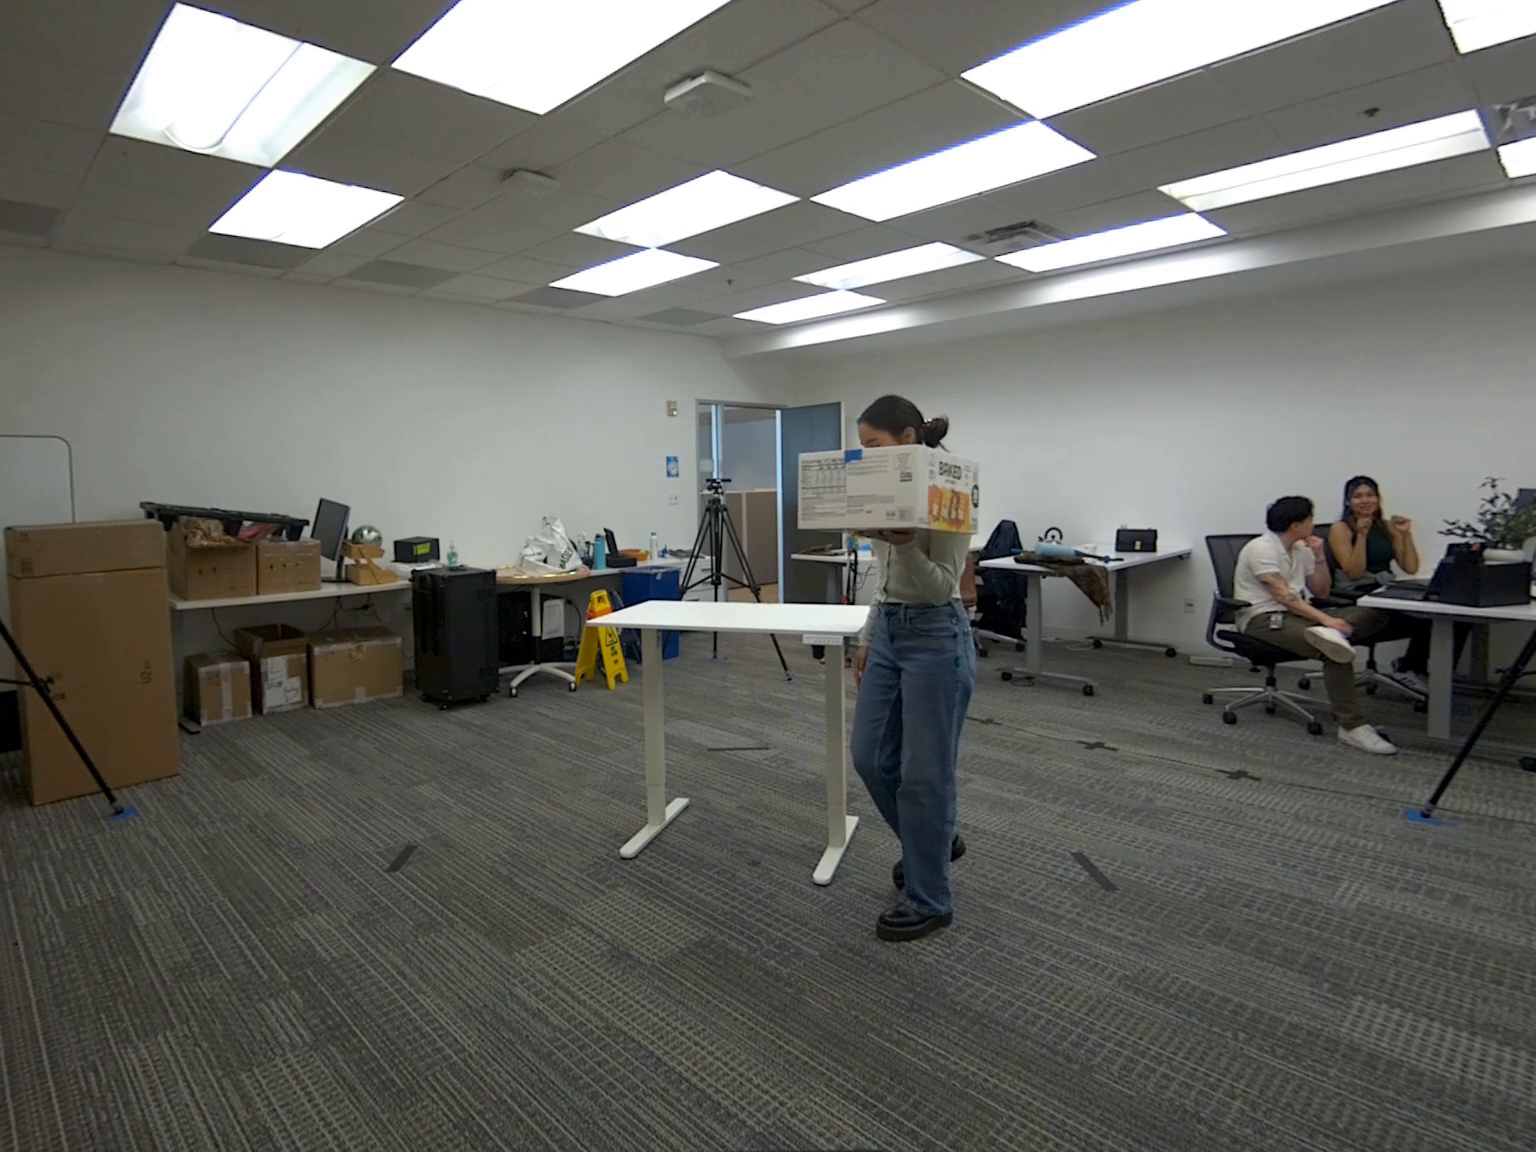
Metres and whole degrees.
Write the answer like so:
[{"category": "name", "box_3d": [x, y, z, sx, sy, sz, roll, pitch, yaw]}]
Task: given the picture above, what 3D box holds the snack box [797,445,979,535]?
[{"category": "snack box", "box_3d": [0.336, -0.216, 2.304, 0.350, 0.206, 0.393, 1, 0, 36]}]
